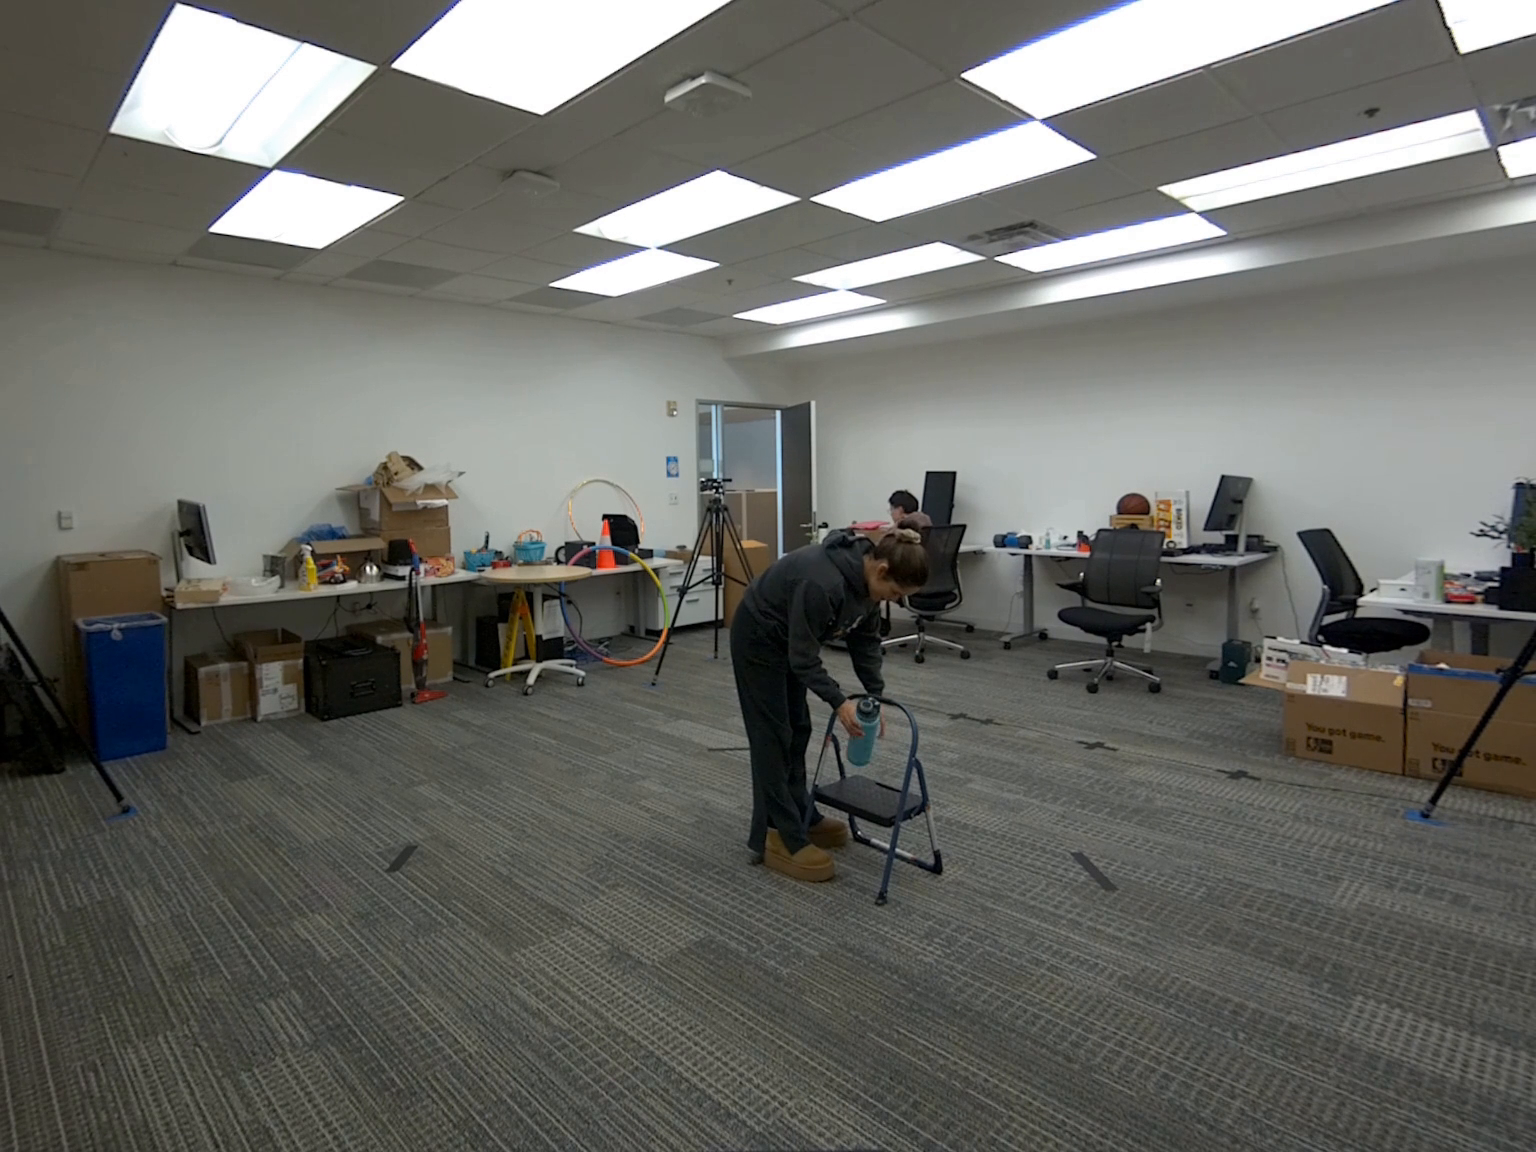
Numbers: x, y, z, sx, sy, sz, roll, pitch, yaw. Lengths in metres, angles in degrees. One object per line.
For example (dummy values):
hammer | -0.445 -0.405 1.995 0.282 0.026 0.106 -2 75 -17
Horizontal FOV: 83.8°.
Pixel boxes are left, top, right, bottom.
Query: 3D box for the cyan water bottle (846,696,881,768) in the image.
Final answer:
cyan water bottle | 0.342 0.543 2.958 0.092 0.276 0.095 0 37 -1
